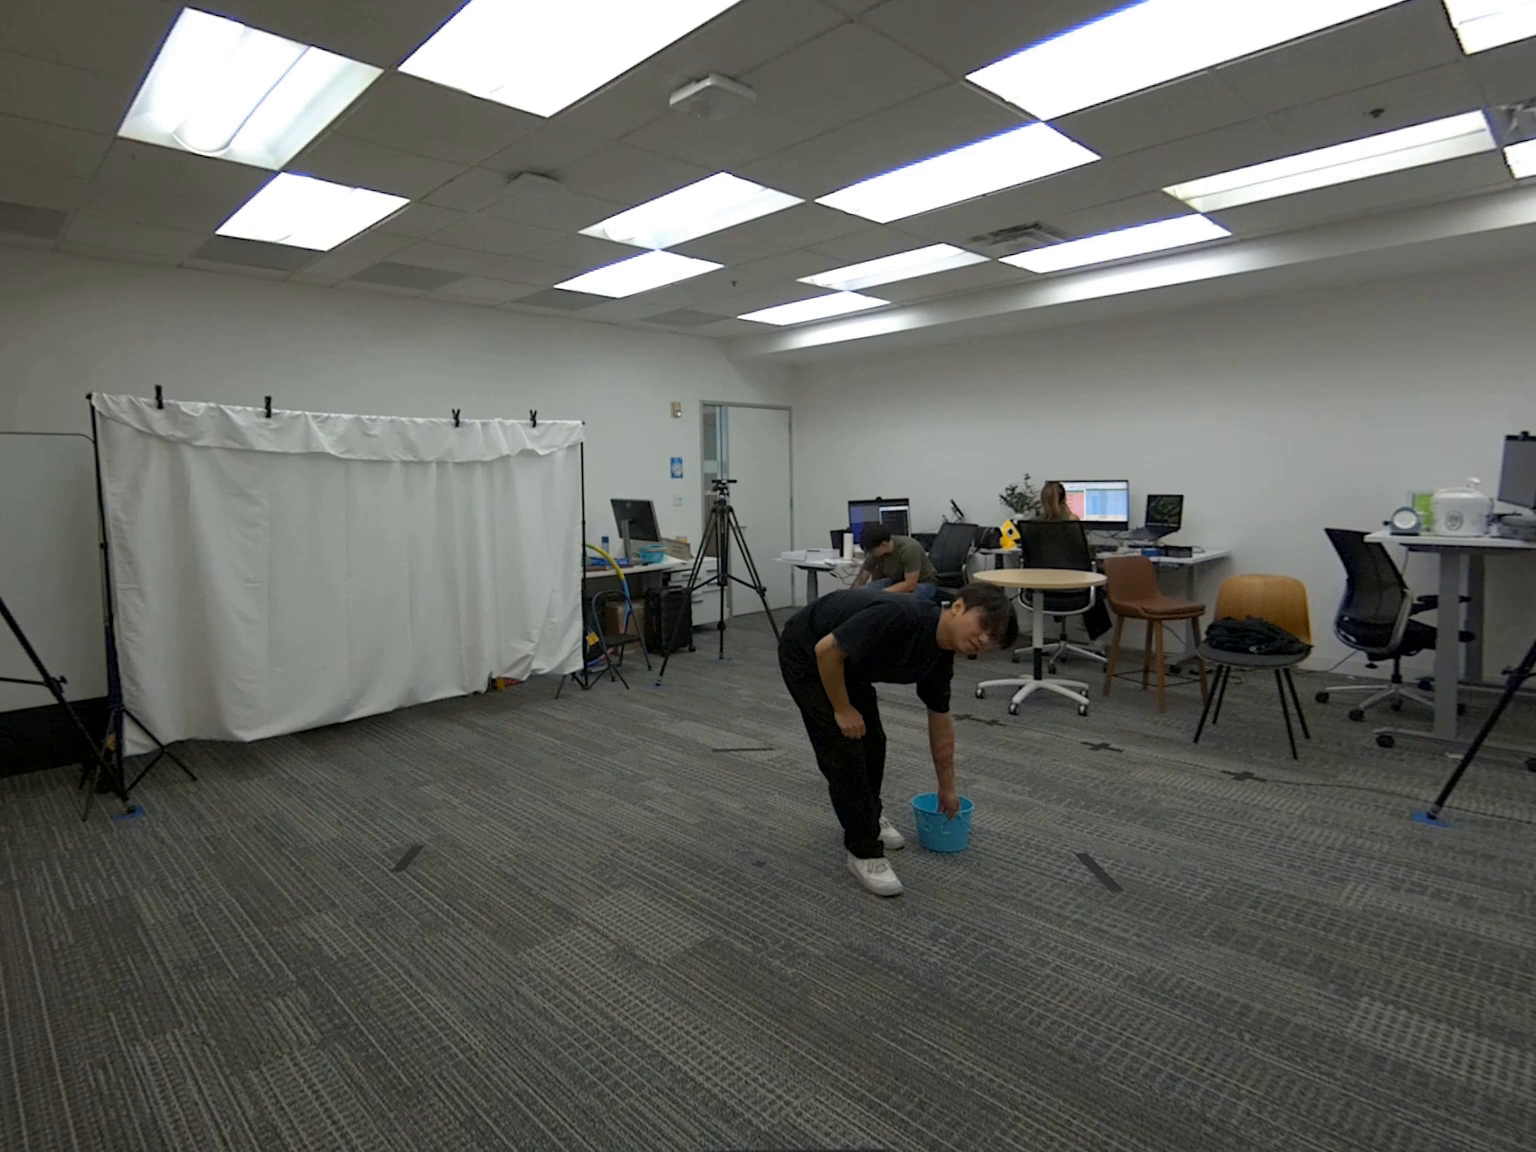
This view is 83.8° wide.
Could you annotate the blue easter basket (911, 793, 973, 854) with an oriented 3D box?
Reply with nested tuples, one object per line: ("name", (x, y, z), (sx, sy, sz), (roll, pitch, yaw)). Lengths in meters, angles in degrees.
("blue easter basket", (0.657, 0.935, 3.261), (0.243, 0.155, 0.245), (-2, 5, -2))
